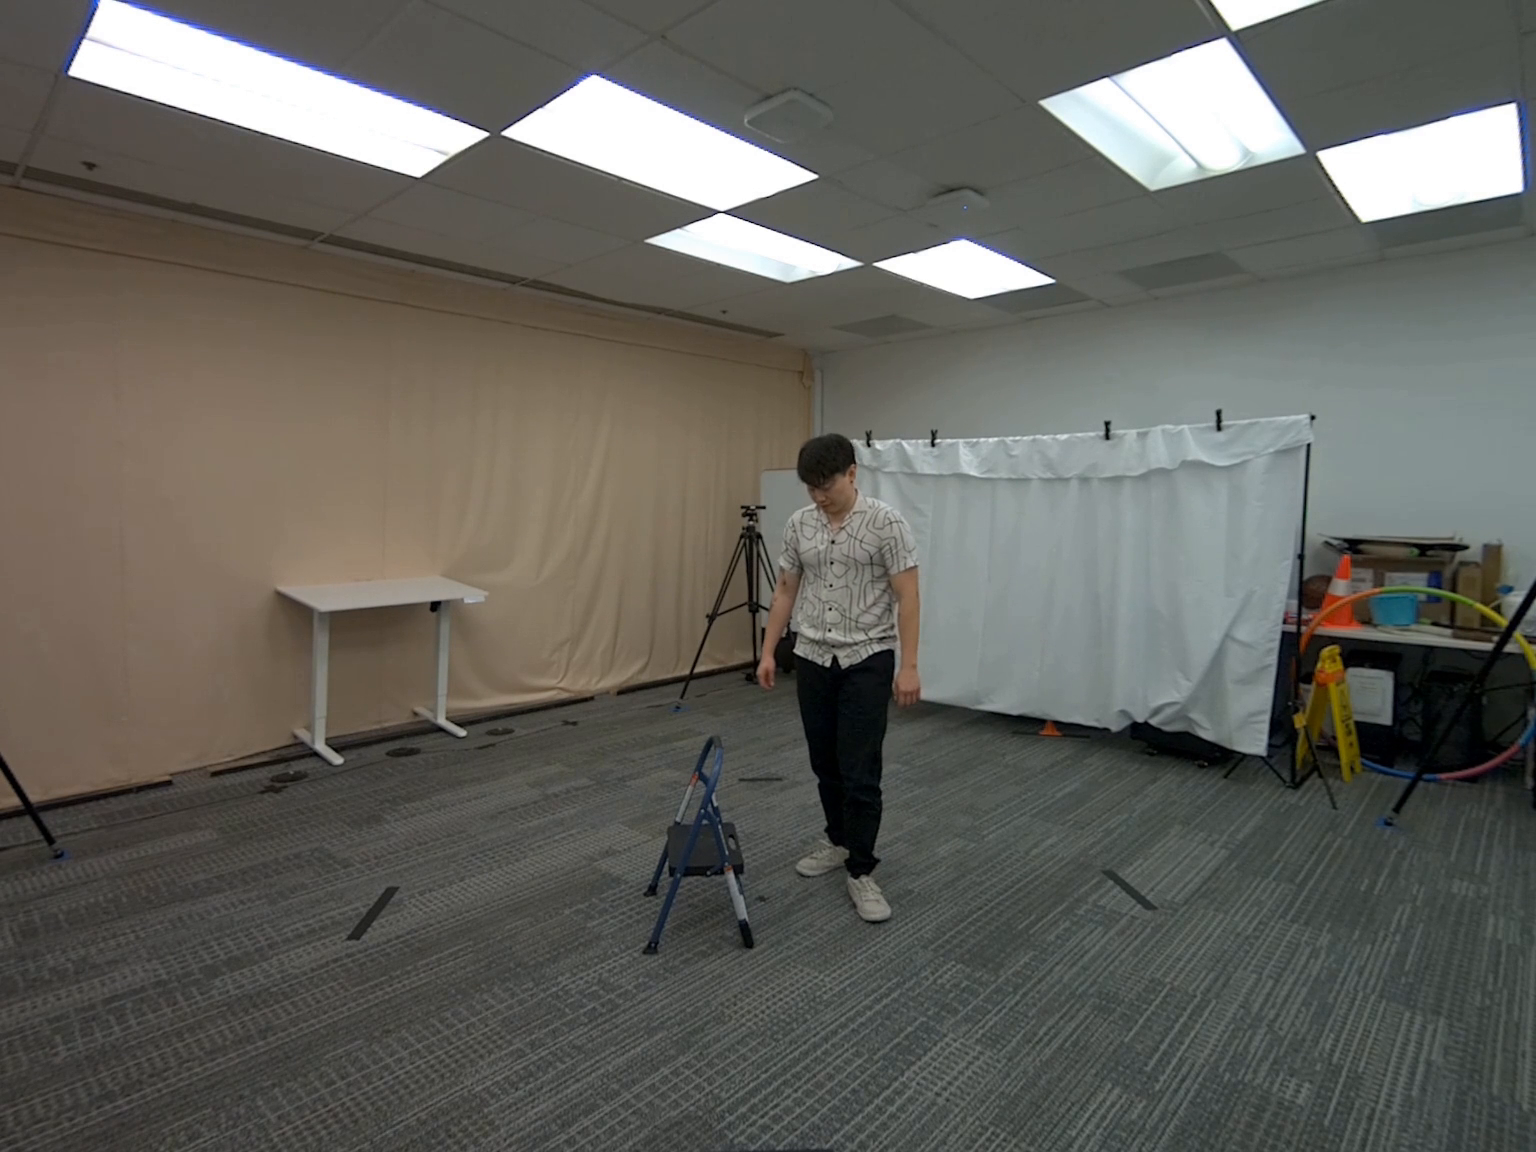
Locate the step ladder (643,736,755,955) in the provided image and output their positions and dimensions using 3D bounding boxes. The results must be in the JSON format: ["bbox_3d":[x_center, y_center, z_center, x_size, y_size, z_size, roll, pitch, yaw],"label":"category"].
[{"bbox_3d":[-0.238,0.861,2.818,0.347,0.605,0.435,-1,4,-8],"label":"step ladder"}]
